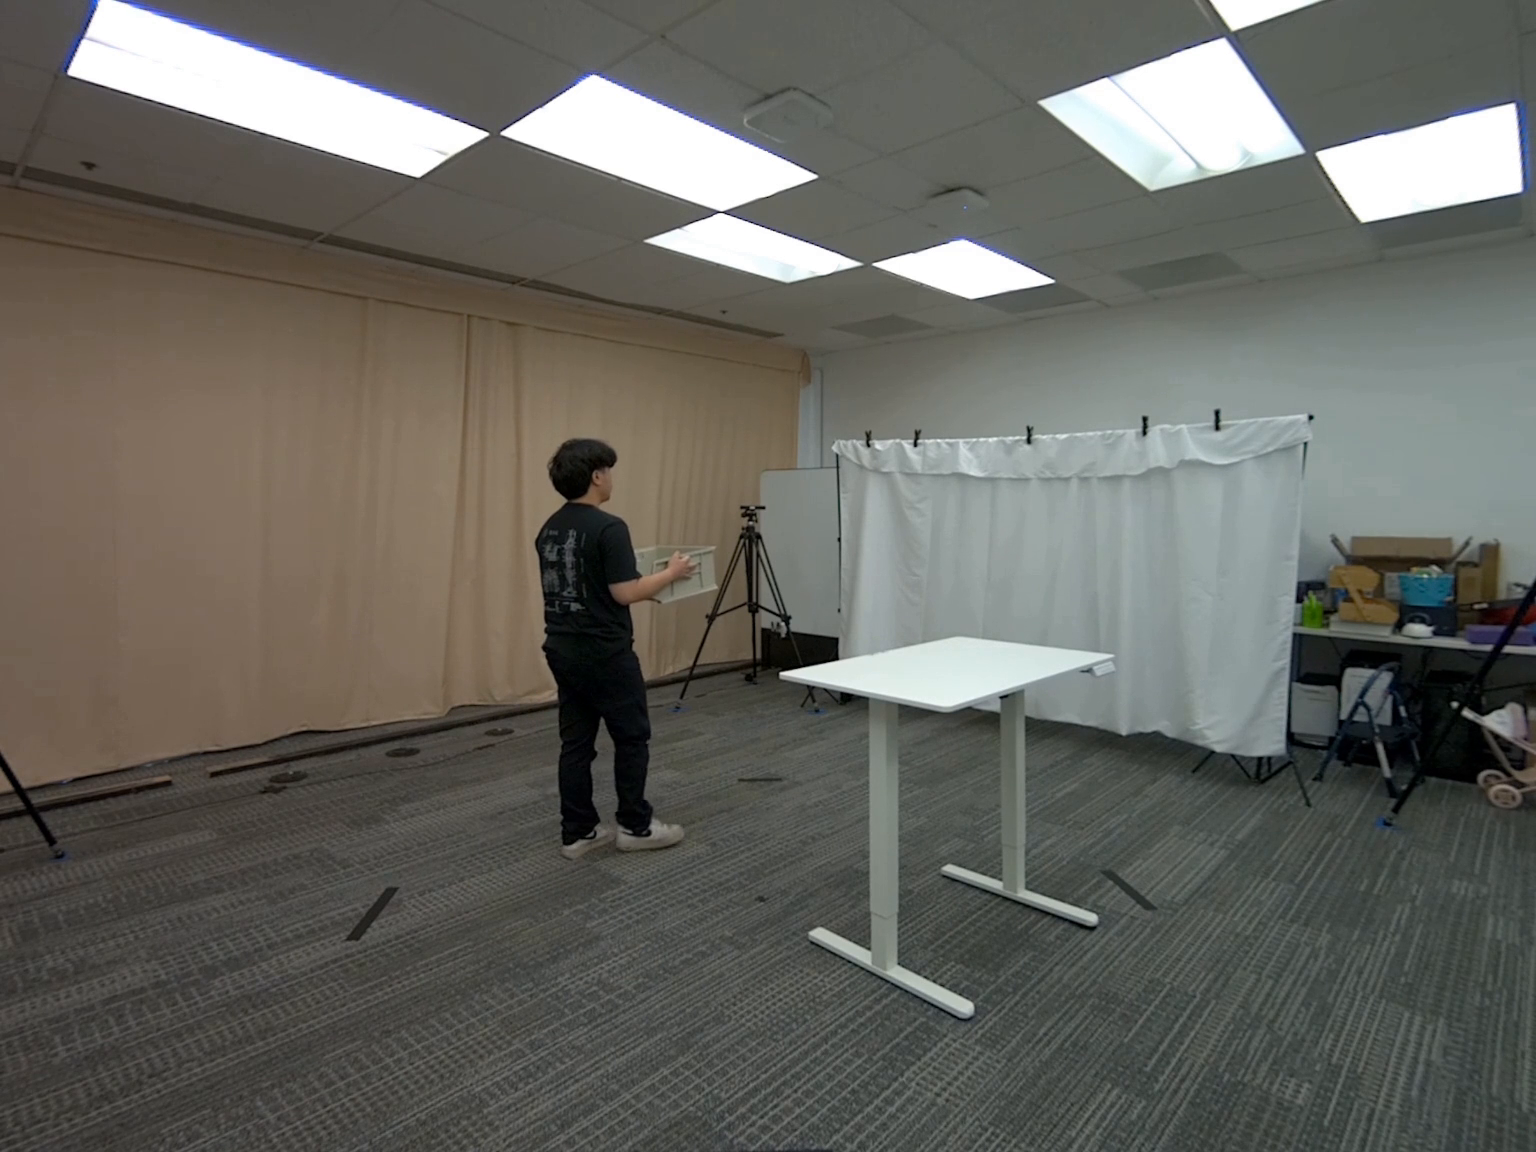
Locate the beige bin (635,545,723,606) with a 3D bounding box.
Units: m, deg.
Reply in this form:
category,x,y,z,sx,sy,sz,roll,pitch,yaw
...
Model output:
category,x,y,z,sx,sy,sz,roll,pitch,yaw
beige bin,-0.487,-0.013,3.627,0.367,0.188,0.436,-12,9,-43
